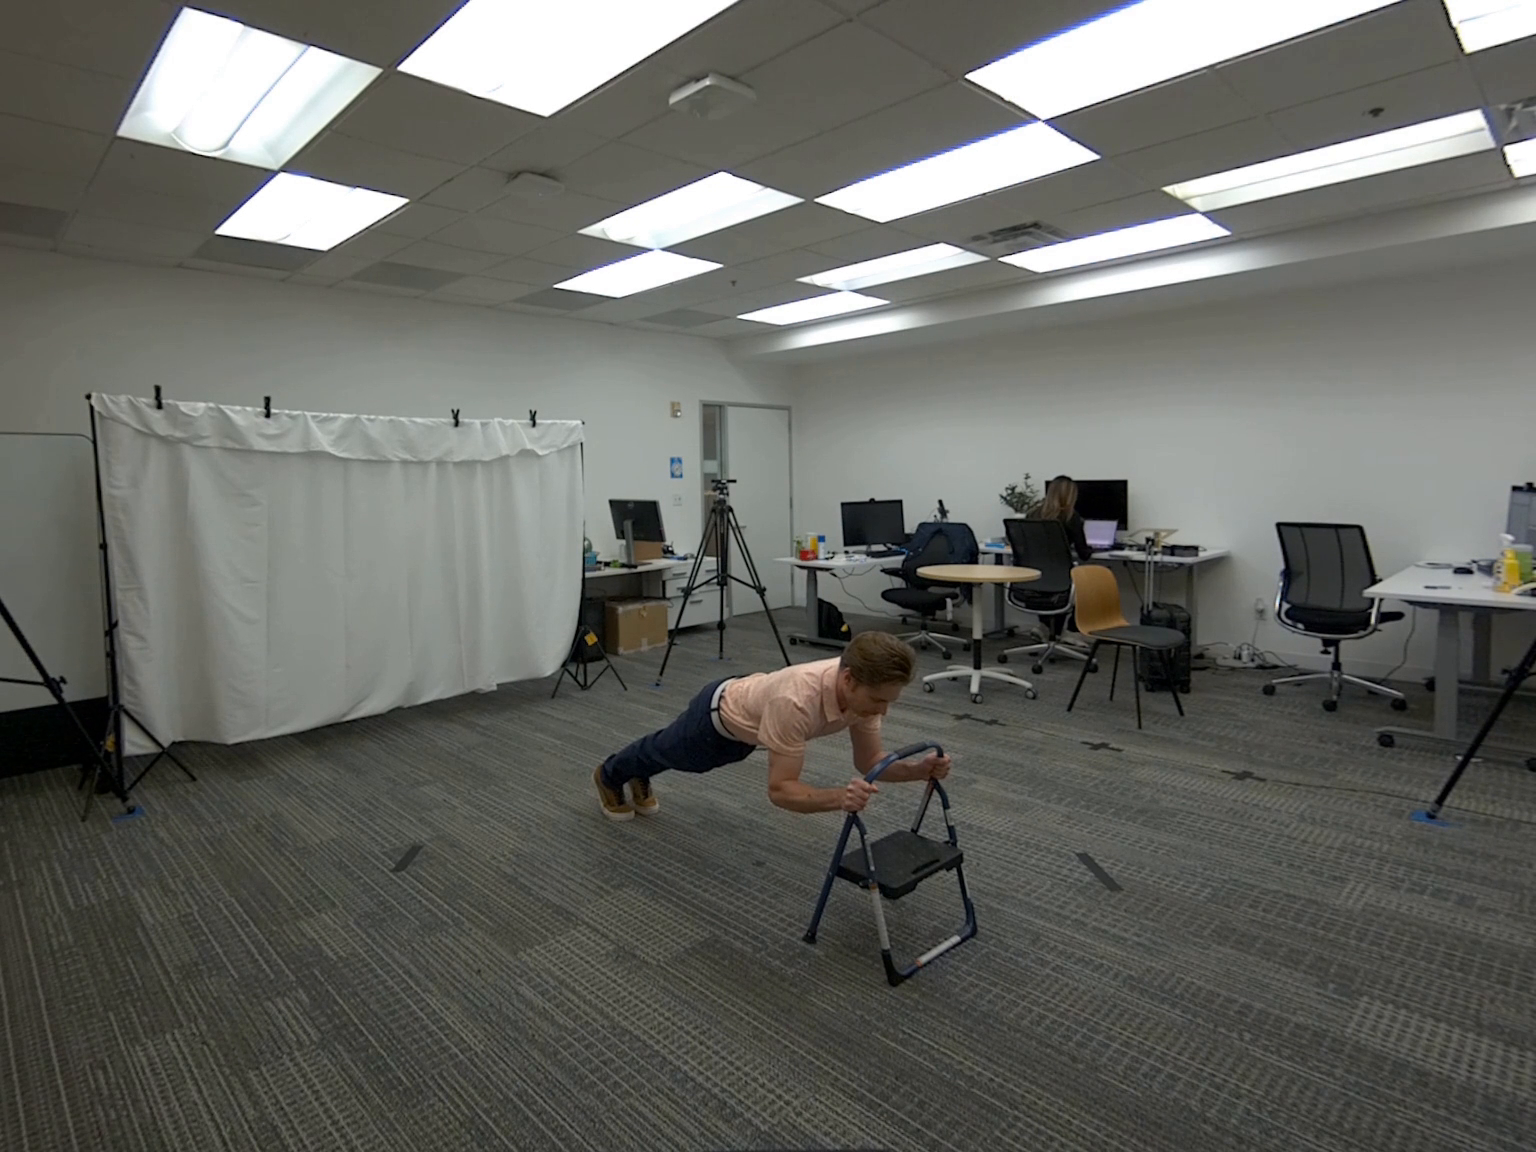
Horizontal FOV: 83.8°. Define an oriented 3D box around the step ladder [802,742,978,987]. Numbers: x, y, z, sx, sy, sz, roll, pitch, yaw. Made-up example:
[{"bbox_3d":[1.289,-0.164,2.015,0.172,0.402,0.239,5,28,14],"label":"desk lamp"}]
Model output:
[{"bbox_3d":[0.376,0.800,2.579,0.419,0.603,0.360,-5,7,-43],"label":"step ladder"}]
